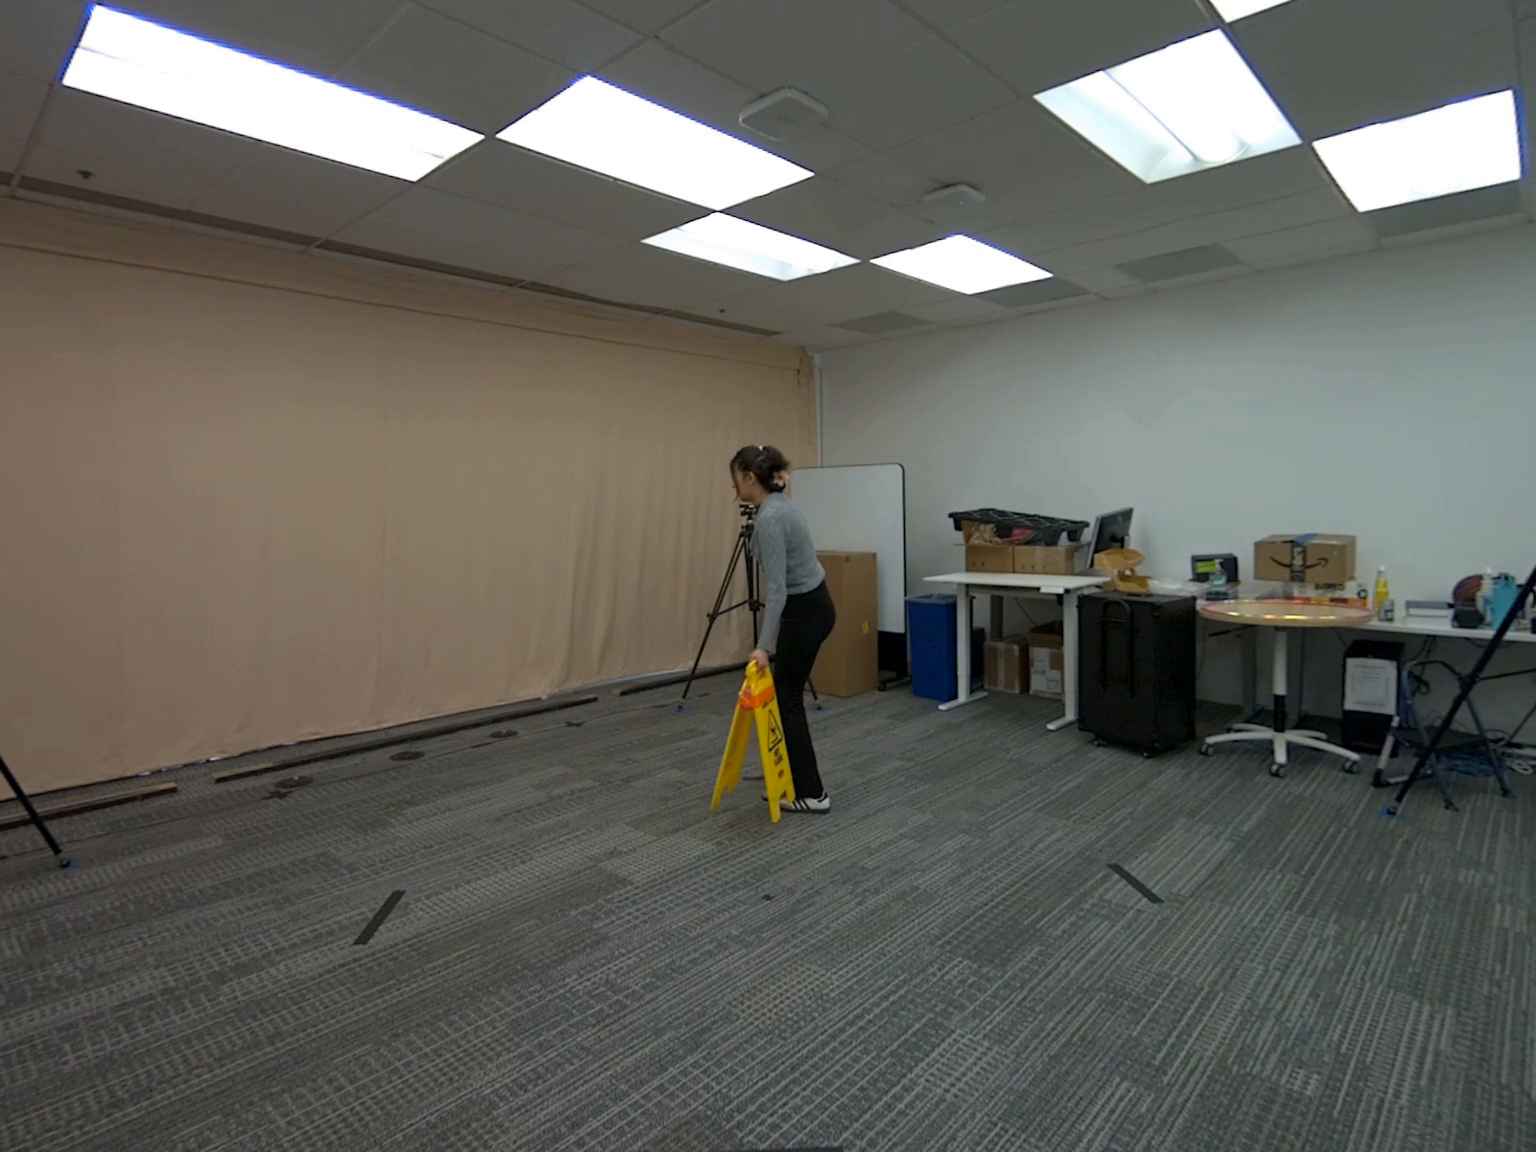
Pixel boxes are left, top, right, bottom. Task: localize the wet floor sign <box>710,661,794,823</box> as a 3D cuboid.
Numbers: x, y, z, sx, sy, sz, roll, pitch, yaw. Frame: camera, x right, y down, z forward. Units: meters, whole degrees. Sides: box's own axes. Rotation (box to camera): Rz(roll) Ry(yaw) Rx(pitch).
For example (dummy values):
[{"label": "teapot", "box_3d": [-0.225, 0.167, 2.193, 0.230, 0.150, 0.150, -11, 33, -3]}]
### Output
[{"label": "wet floor sign", "box_3d": [-0.054, 0.674, 3.611, 0.296, 0.643, 0.277, 4, 7, 20]}]
